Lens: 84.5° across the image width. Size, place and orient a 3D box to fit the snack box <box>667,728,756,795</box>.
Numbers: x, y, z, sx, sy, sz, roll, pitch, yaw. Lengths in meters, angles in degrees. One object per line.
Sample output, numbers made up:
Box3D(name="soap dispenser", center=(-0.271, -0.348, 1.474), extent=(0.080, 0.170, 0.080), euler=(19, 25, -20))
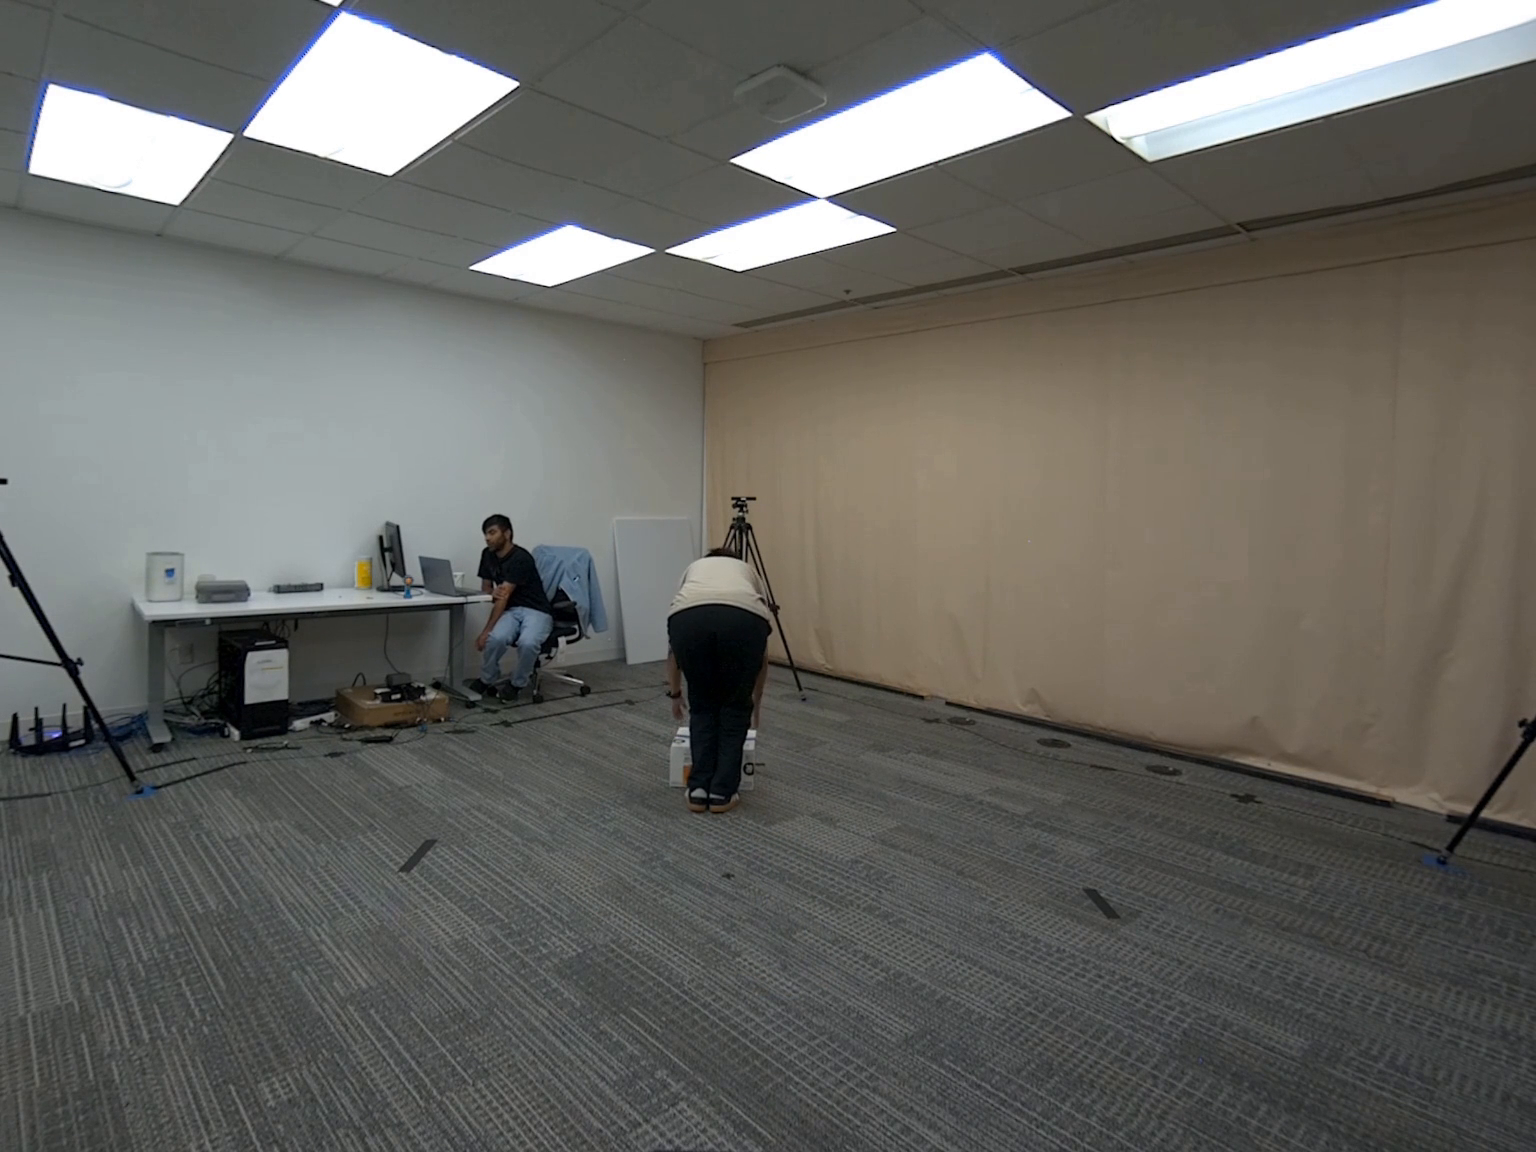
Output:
Box3D(name="snack box", center=(-0.275, 0.913, 4.206), extent=(0.406, 0.205, 0.340), euler=(2, 4, 2))
